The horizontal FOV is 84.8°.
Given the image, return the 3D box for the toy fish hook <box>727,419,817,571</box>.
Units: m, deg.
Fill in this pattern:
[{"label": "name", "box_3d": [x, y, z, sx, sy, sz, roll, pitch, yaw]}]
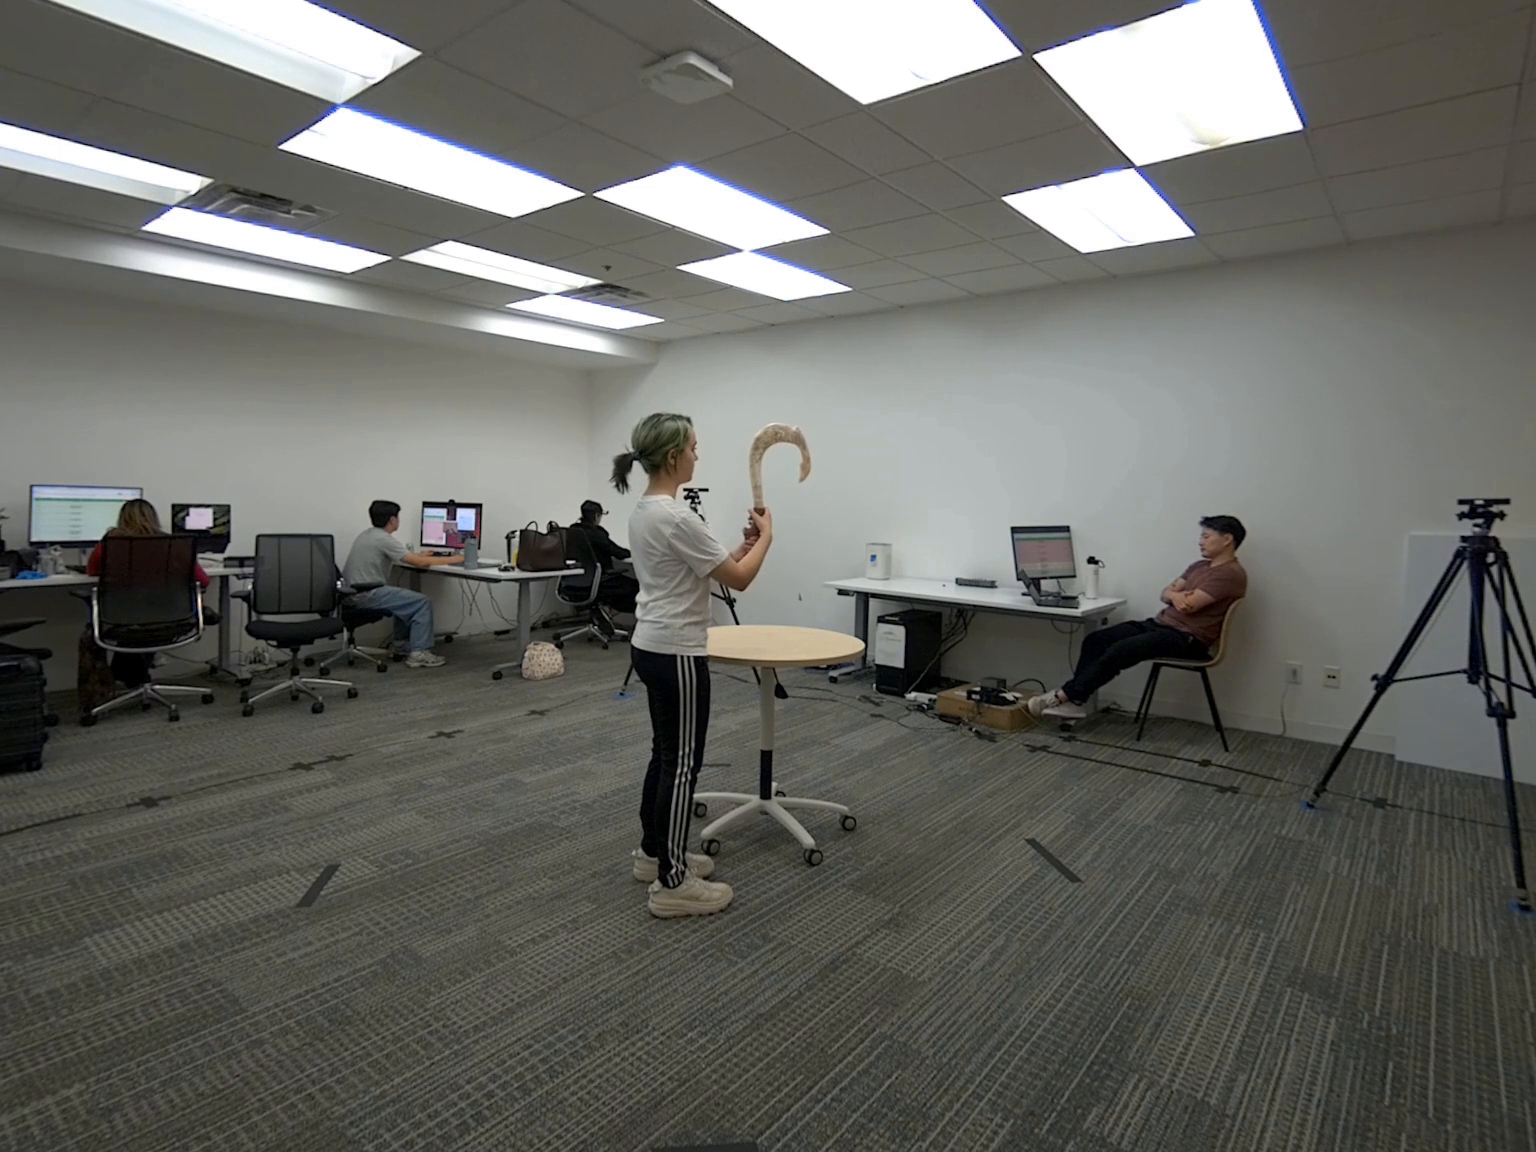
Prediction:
[{"label": "toy fish hook", "box_3d": [0.007, -0.291, 3.013, 0.228, 0.506, 0.047, 12, 0, 14]}]
